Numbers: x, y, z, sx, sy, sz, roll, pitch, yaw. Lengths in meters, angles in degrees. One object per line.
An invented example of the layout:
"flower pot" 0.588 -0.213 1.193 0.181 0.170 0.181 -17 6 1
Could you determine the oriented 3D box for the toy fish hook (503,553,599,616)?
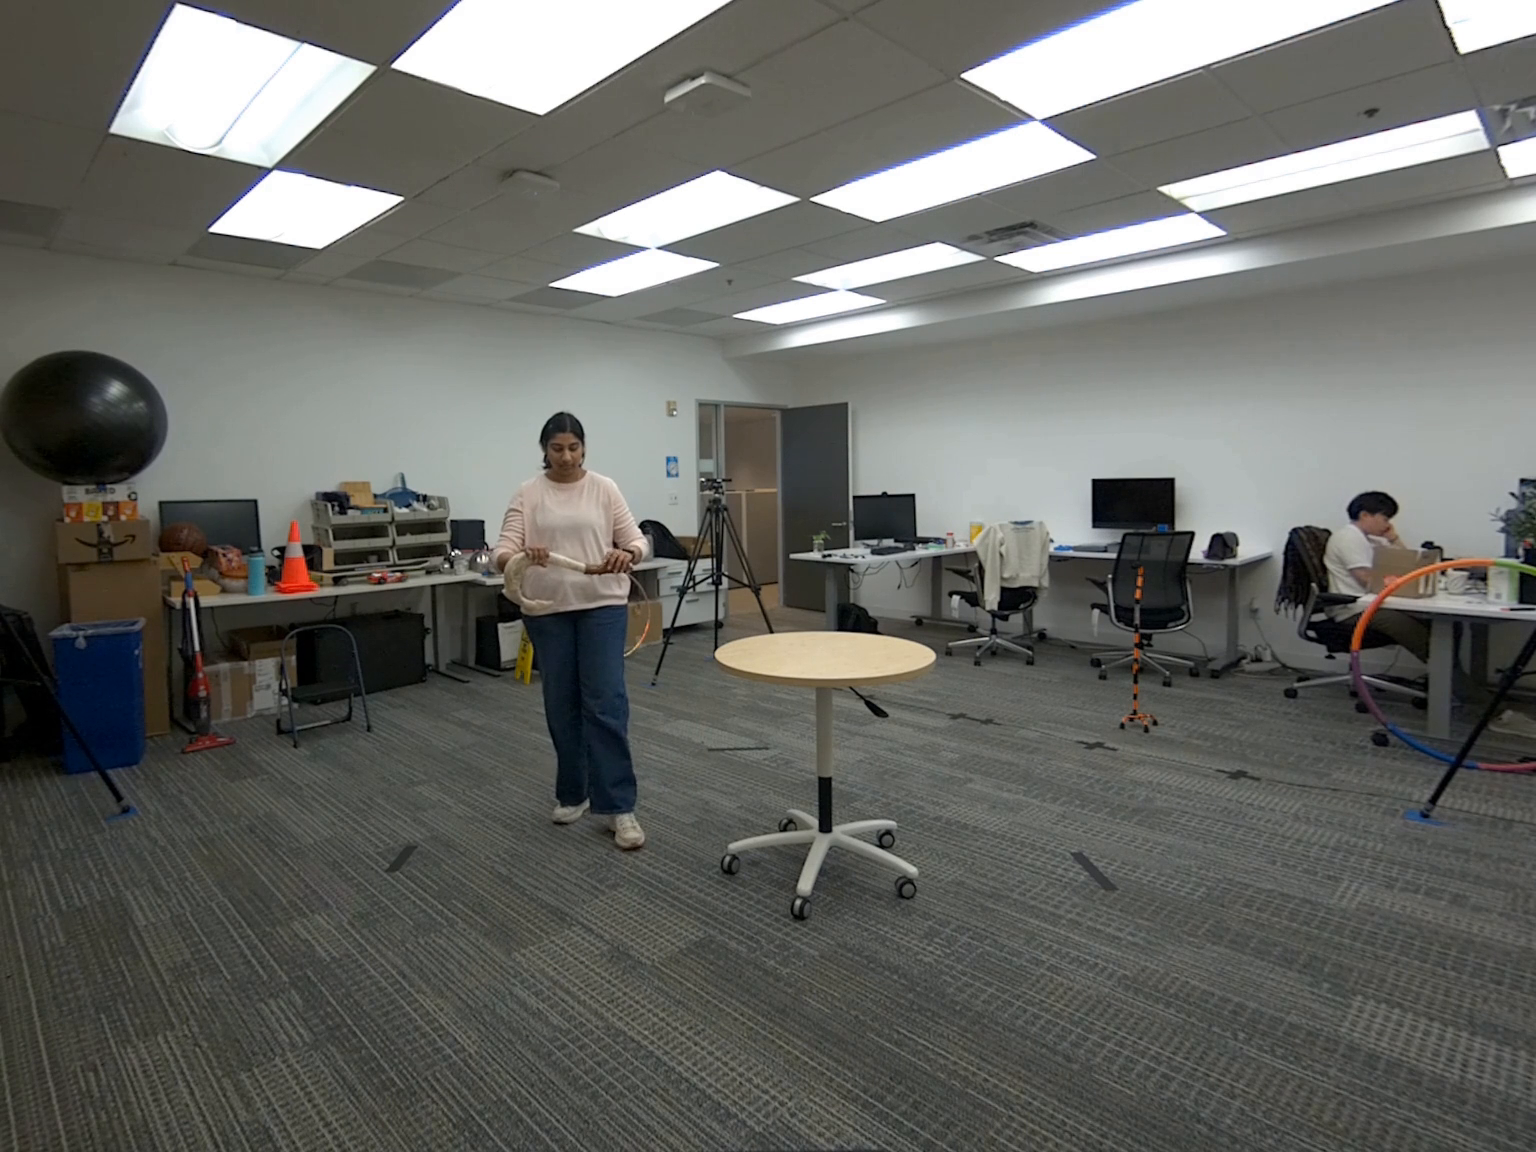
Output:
"toy fish hook" -0.747 0.014 3.200 0.493 0.223 0.050 0 13 -35
